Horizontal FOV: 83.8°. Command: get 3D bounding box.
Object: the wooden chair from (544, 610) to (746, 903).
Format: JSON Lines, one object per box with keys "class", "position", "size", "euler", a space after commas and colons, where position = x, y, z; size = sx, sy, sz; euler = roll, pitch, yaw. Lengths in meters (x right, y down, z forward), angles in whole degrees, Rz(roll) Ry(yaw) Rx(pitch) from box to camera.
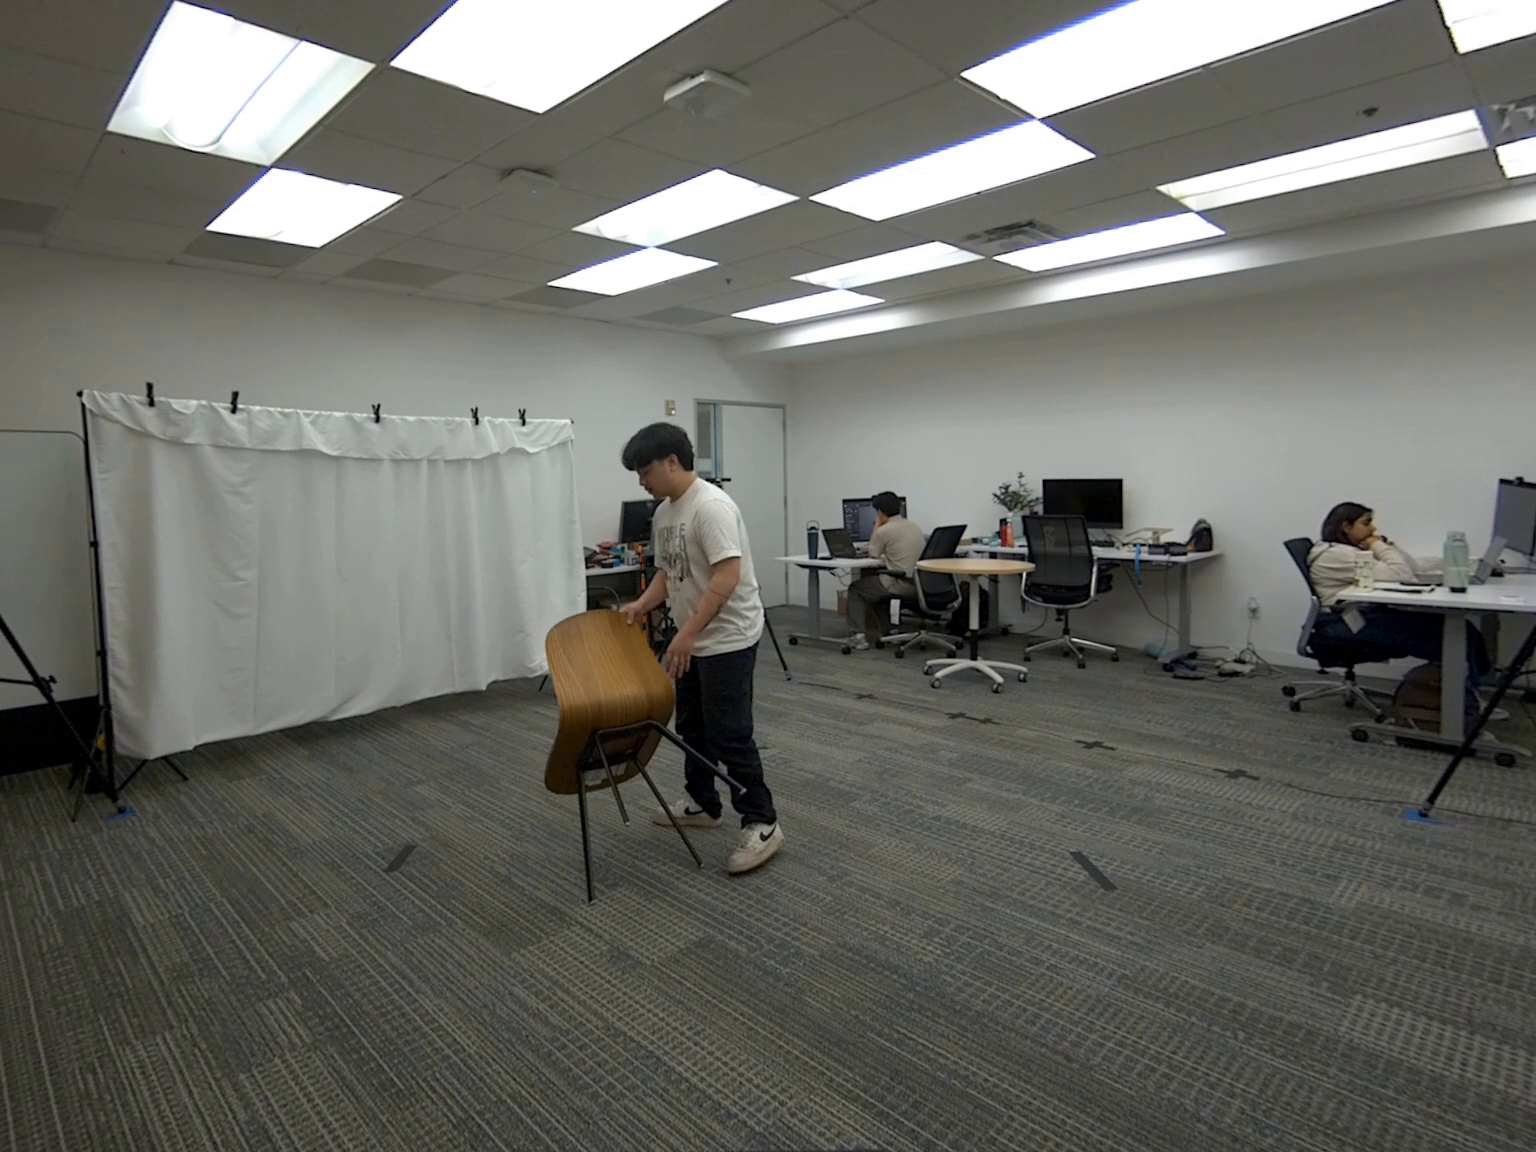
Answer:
{"class": "wooden chair", "position": [-0.544, 0.620, 3.095], "size": [0.466, 0.517, 0.909], "euler": [-6, 47, -36]}
